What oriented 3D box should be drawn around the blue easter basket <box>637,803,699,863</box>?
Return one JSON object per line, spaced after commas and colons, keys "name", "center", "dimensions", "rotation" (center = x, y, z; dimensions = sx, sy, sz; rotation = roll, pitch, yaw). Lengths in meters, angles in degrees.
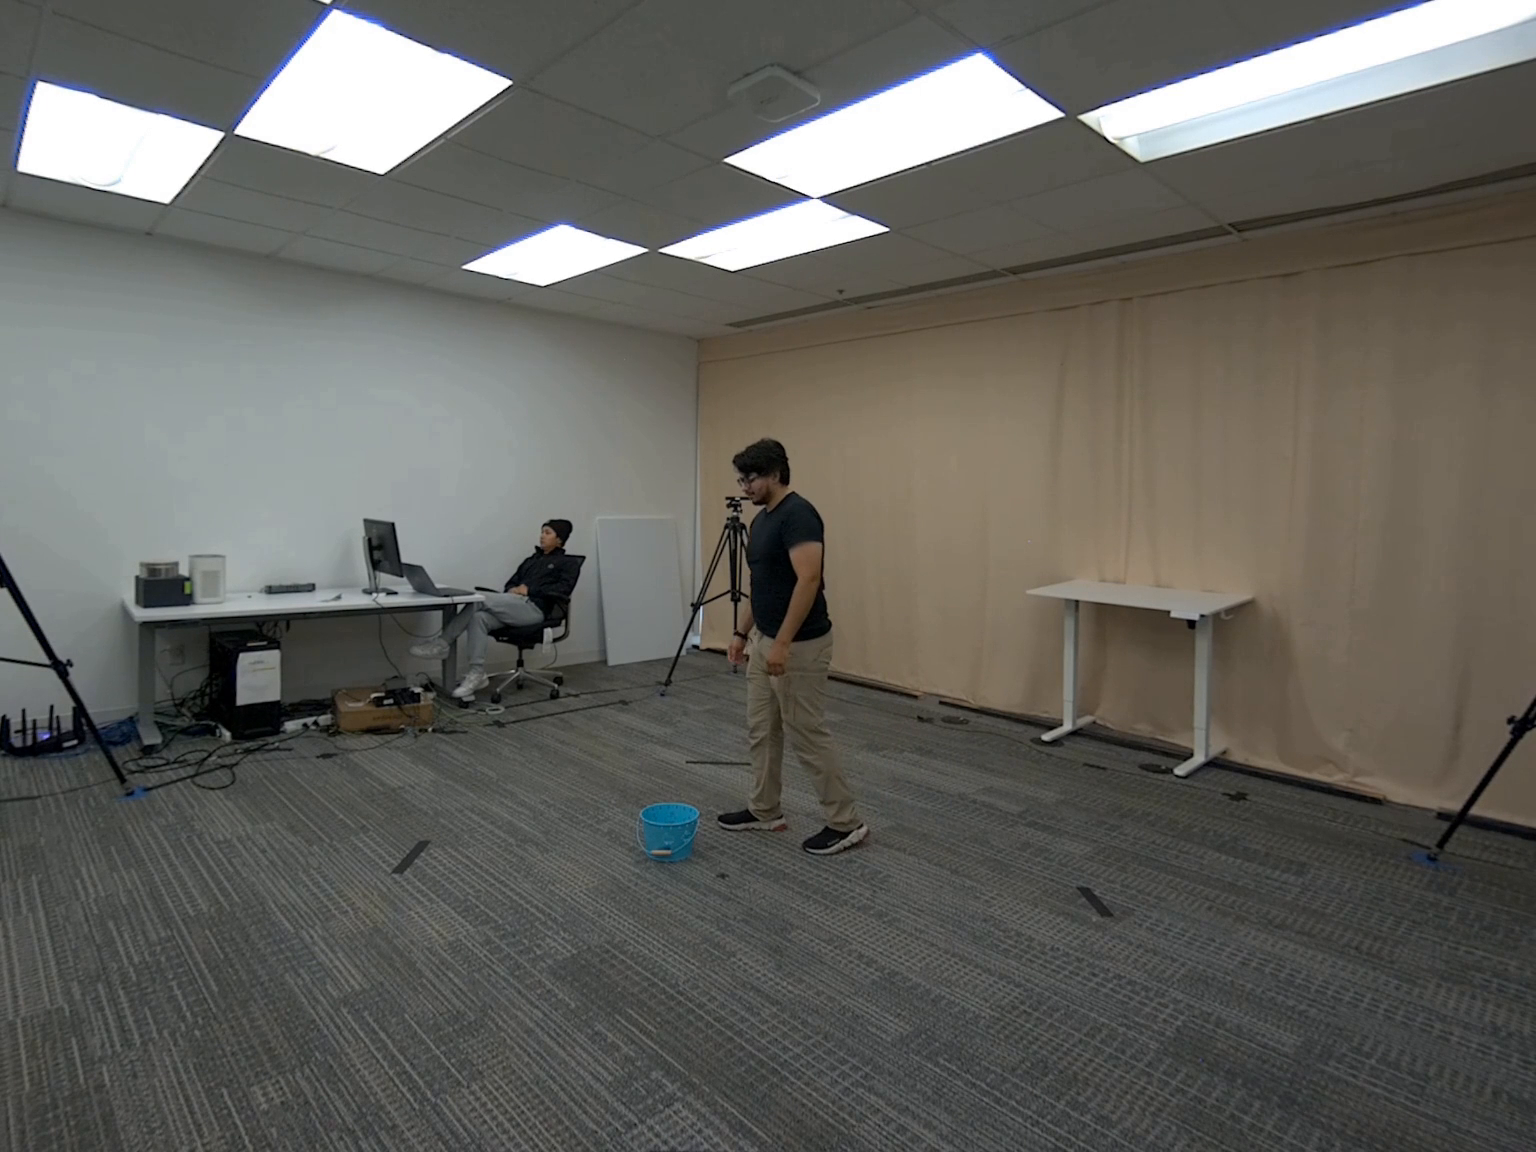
{"name": "blue easter basket", "center": [-0.395, 1.005, 3.300], "dimensions": [0.243, 0.155, 0.244], "rotation": [2, 5, -2]}
